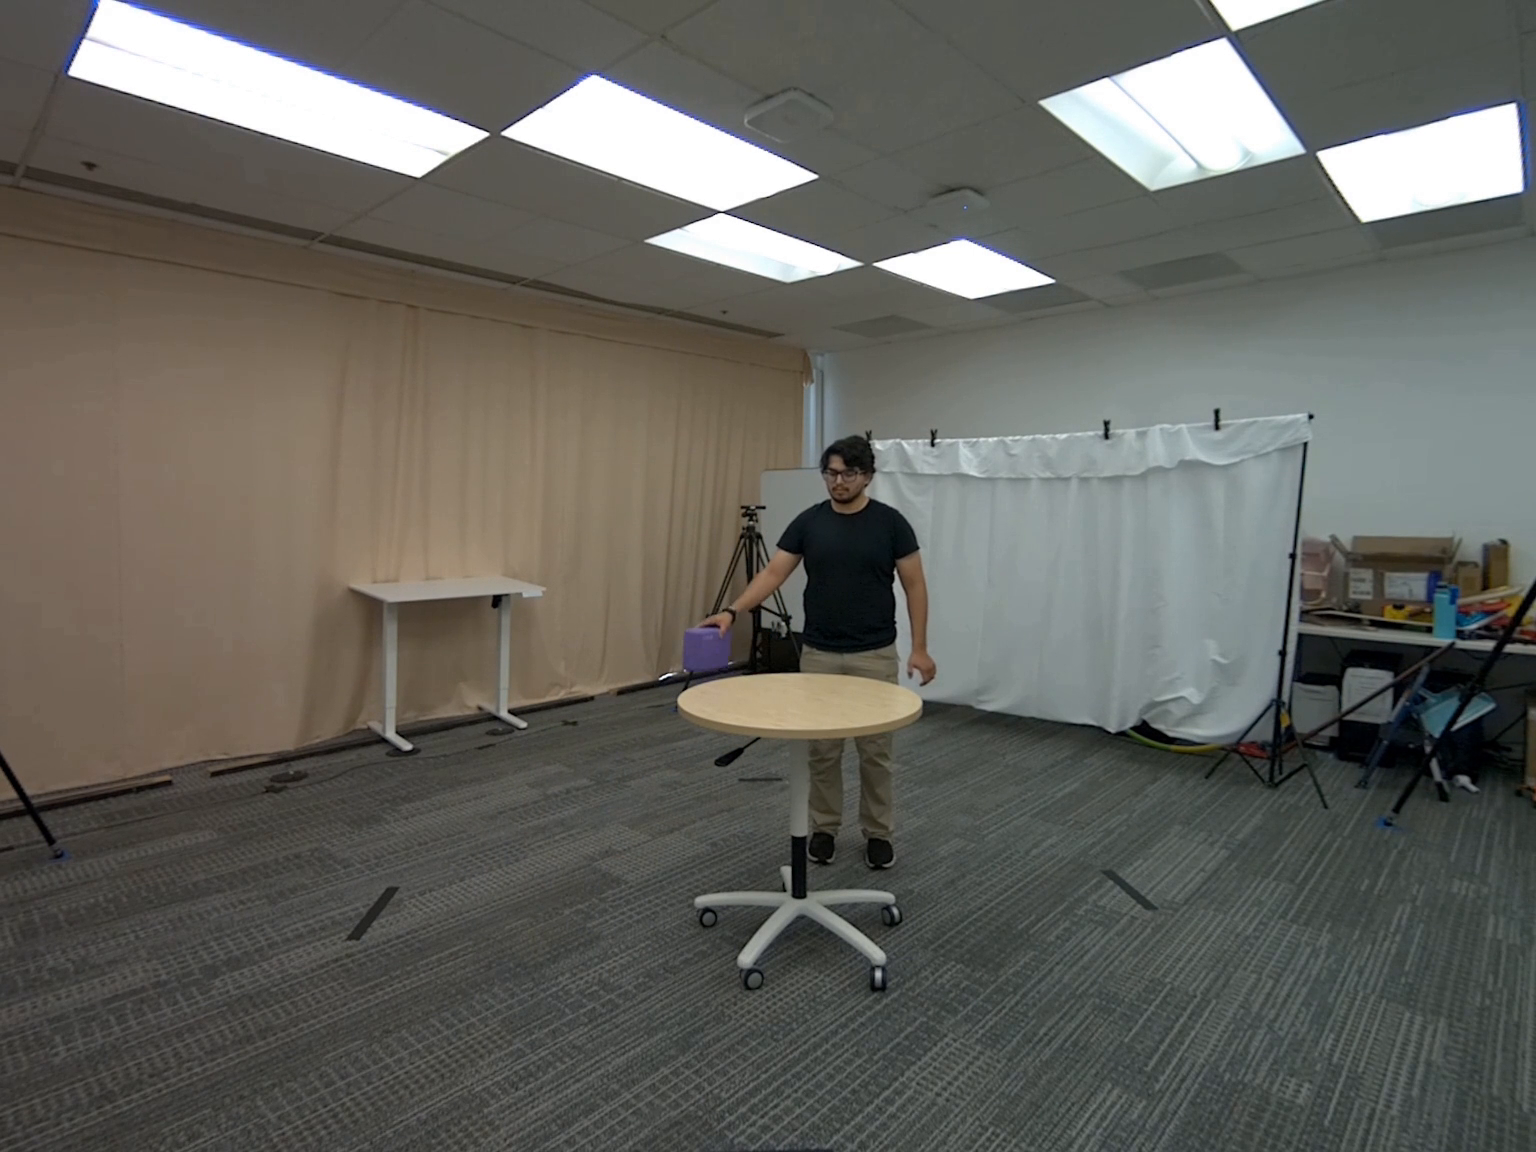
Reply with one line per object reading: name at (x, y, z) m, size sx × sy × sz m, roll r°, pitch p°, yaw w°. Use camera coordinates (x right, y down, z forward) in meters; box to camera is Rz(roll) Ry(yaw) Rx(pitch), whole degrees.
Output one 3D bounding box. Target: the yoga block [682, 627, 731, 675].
yoga block at (-0.203, 0.270, 3.134) m, size 0.078 × 0.149 × 0.223 m, roll 4°, pitch 2°, yaw 26°
